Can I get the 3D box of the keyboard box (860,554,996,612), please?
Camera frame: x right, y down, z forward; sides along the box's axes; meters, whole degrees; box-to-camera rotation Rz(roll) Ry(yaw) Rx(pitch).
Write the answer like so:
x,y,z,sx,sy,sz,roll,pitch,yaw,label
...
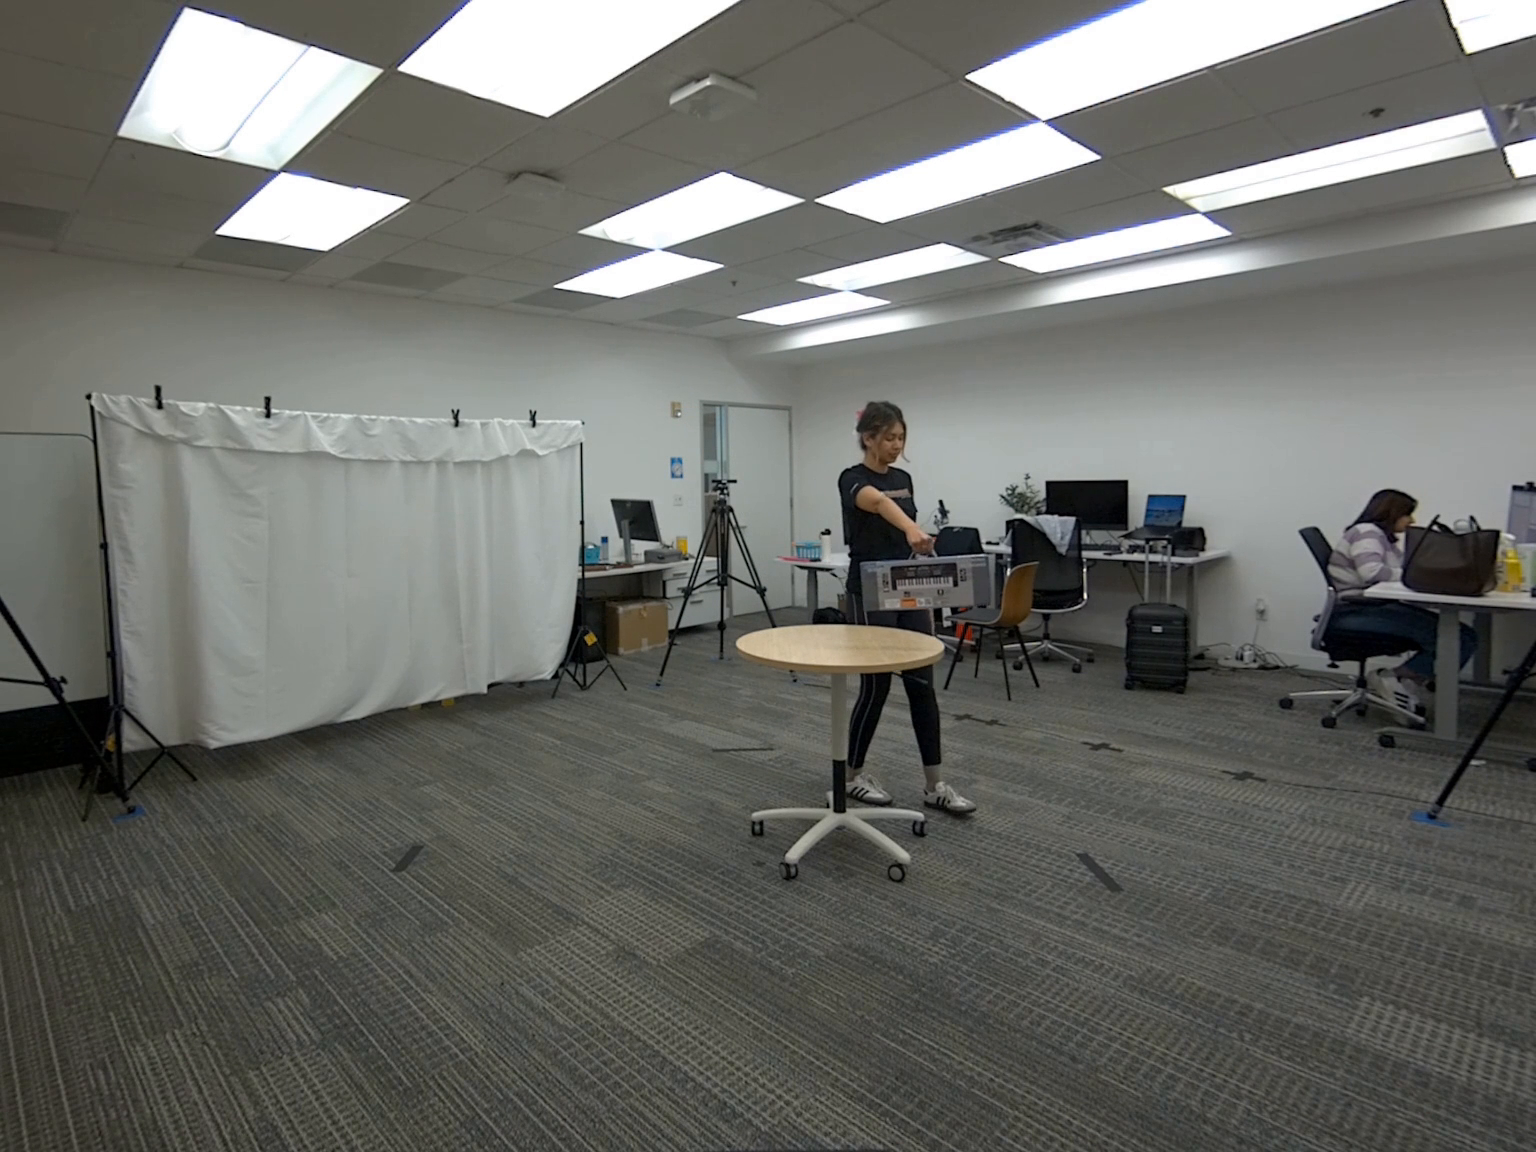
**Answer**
x,y,z,sx,sy,sz,roll,pitch,yaw,label
0.552,0.027,3.011,0.443,0.175,0.058,-4,2,16,keyboard box
